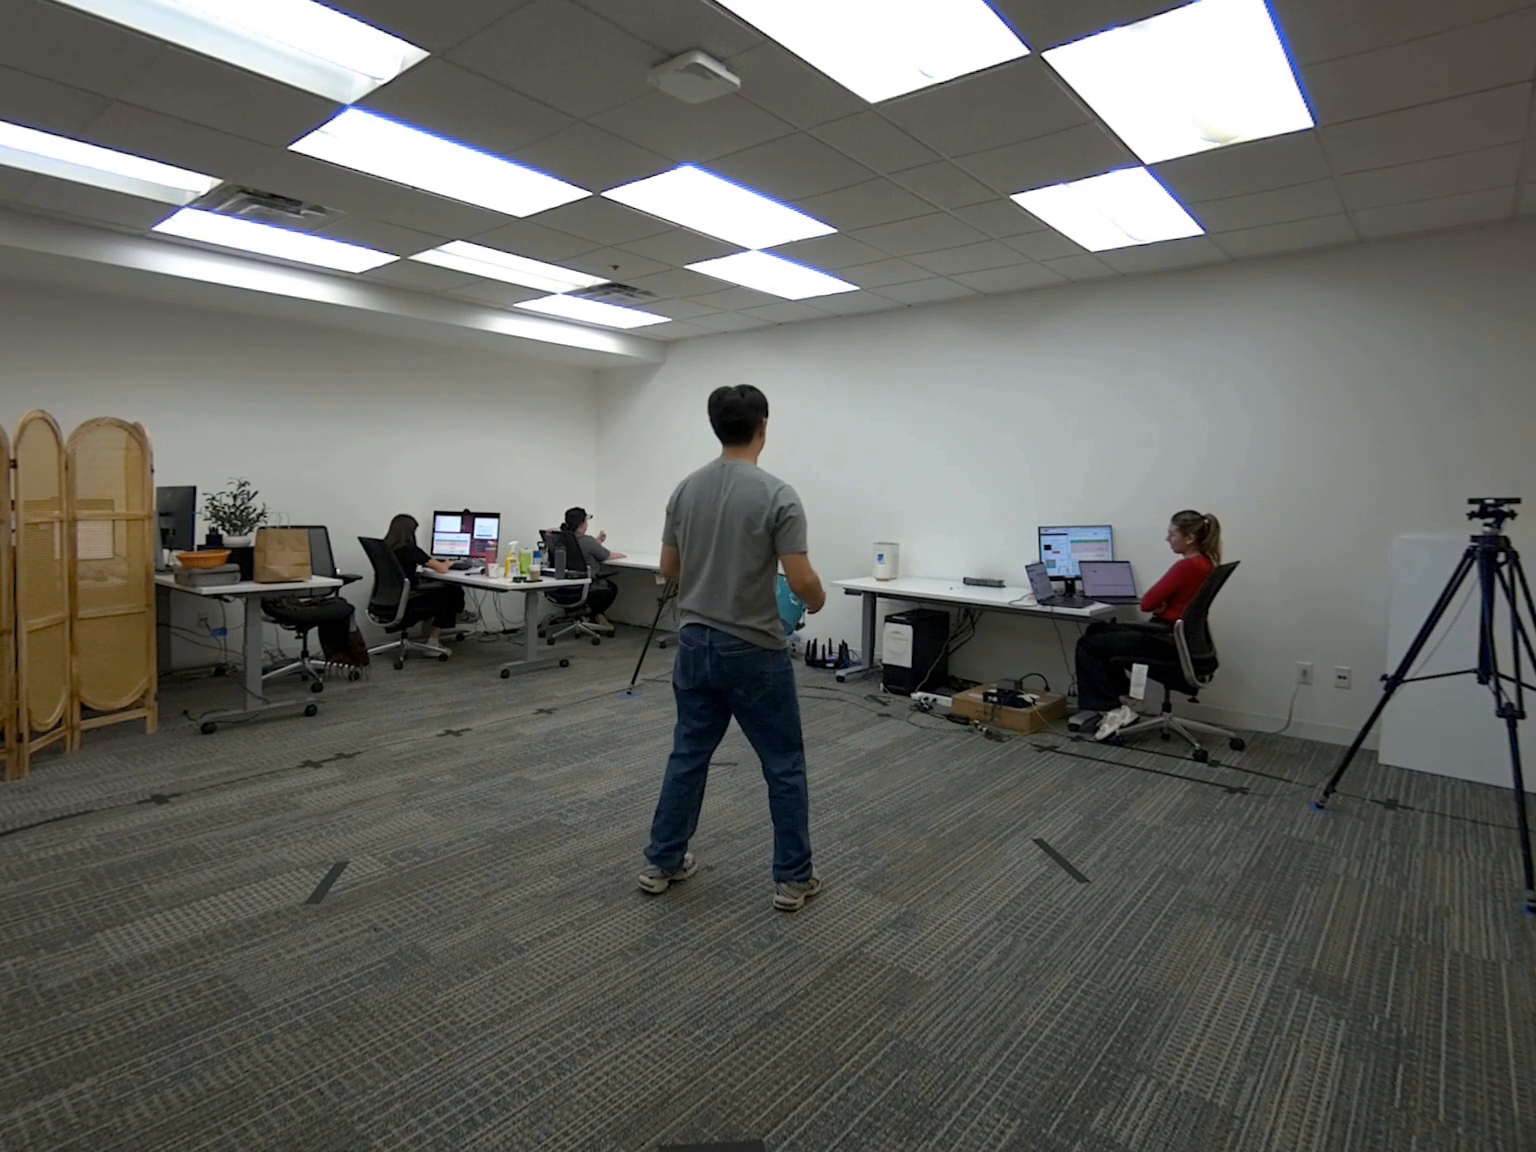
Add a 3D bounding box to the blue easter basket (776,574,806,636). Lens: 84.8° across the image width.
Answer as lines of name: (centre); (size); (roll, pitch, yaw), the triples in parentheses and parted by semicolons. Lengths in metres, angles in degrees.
blue easter basket: (0.023, 0.099, 3.101); (0.246, 0.157, 0.238); (19, -24, 7)
